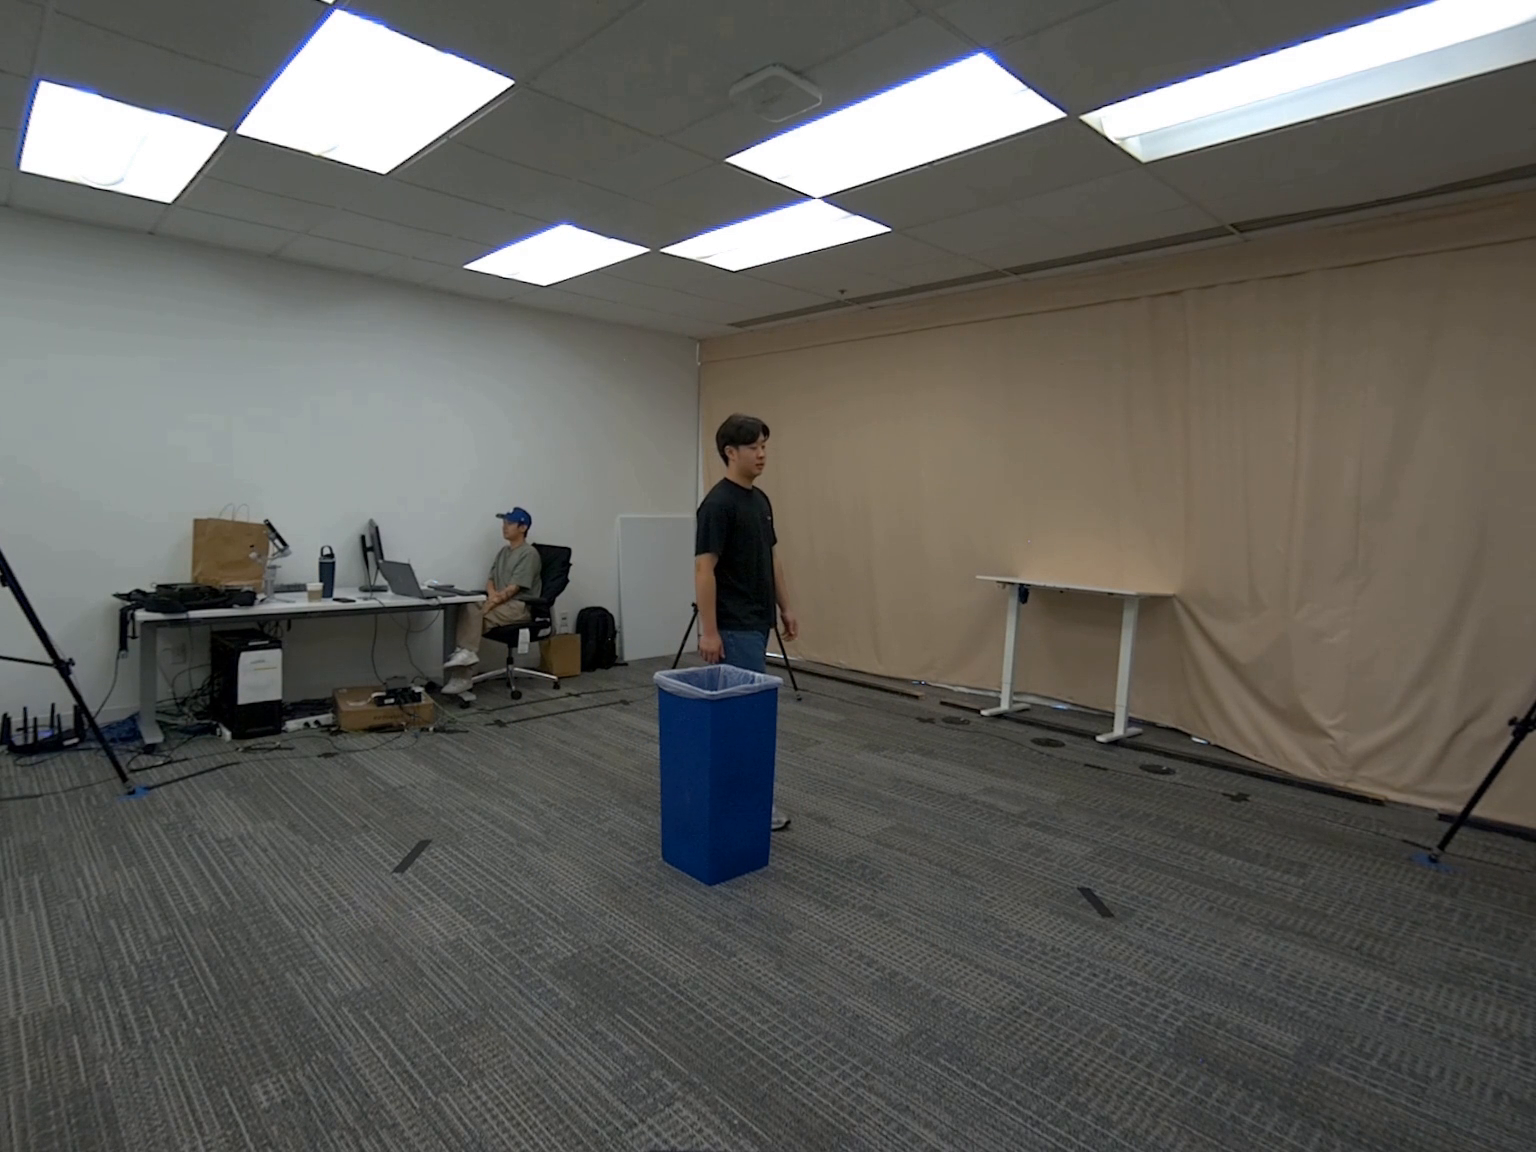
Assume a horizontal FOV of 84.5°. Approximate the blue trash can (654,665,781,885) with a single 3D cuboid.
[{"bbox_3d":[-0.205,0.740,3.195,0.365,0.712,0.388,-1,4,-42],"label":"blue trash can"}]
